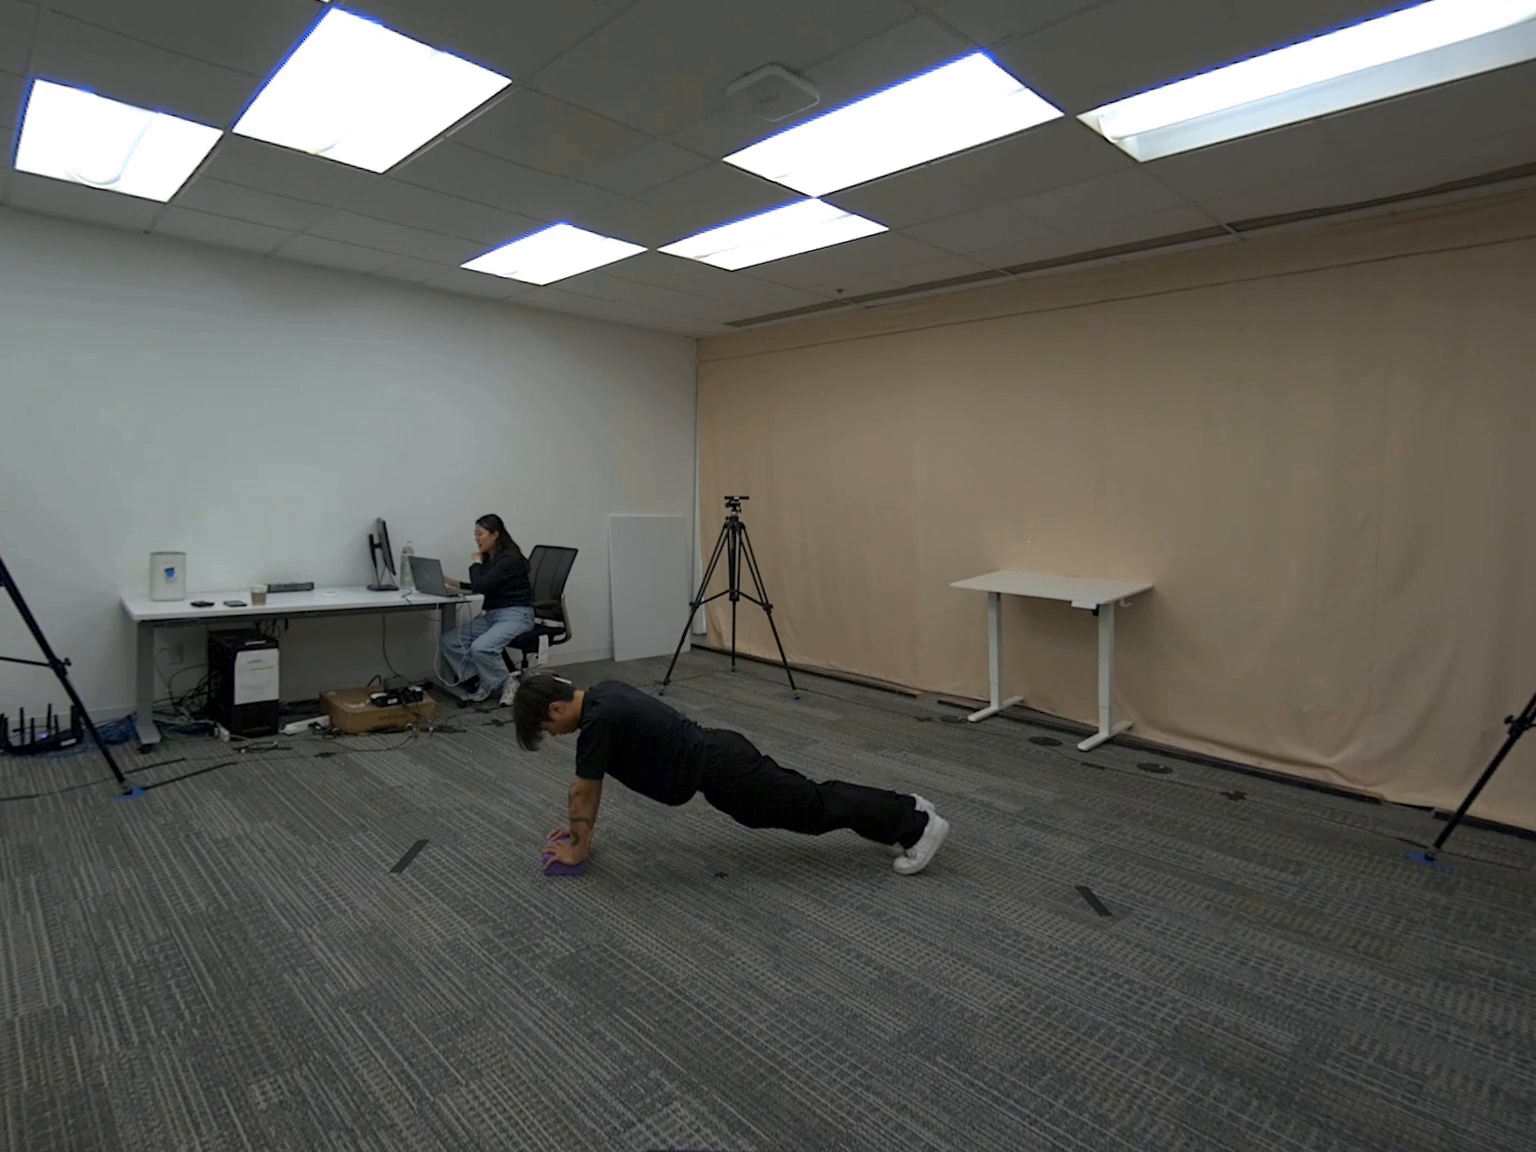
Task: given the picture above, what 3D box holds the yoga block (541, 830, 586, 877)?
[{"bbox_3d":[-0.762,1.042,3.179,0.148,0.076,0.231,2,6,-7],"label":"yoga block"}]
